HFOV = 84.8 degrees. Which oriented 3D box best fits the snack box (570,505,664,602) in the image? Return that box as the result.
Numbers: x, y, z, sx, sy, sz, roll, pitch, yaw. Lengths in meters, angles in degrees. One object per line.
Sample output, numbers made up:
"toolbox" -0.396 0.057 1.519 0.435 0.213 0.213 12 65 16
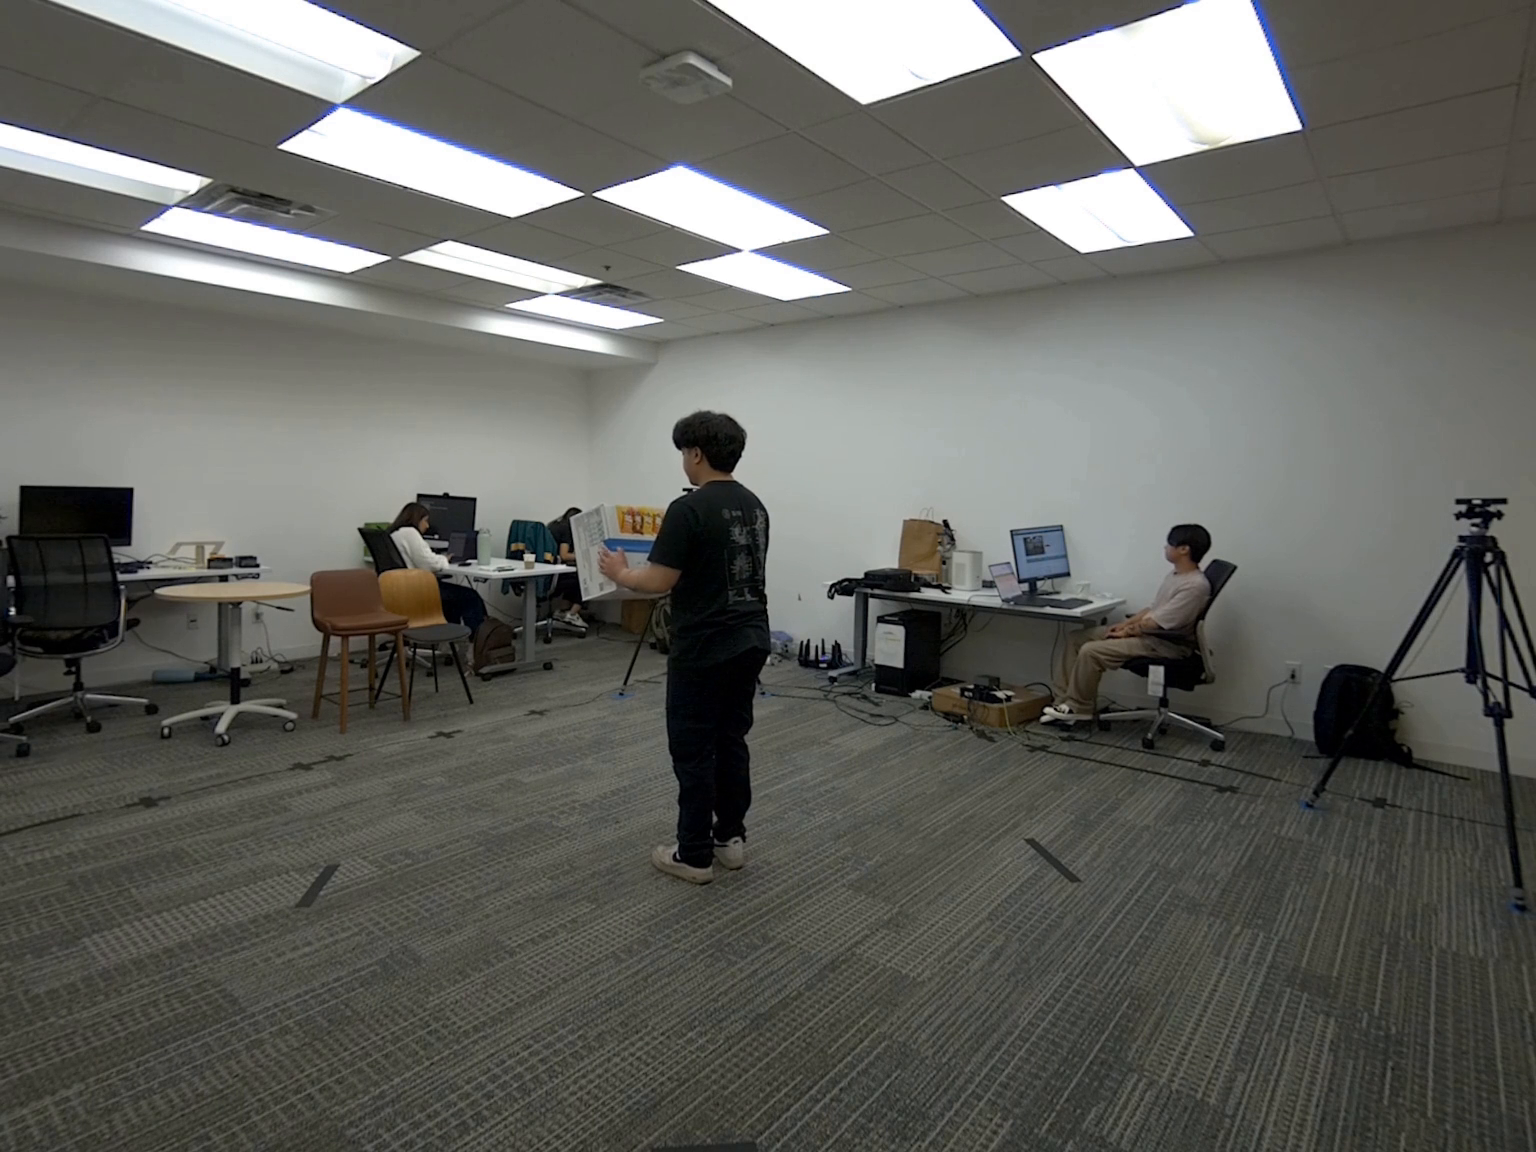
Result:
"snack box" -0.569 -0.093 3.422 0.210 0.345 0.392 -20 -13 38
